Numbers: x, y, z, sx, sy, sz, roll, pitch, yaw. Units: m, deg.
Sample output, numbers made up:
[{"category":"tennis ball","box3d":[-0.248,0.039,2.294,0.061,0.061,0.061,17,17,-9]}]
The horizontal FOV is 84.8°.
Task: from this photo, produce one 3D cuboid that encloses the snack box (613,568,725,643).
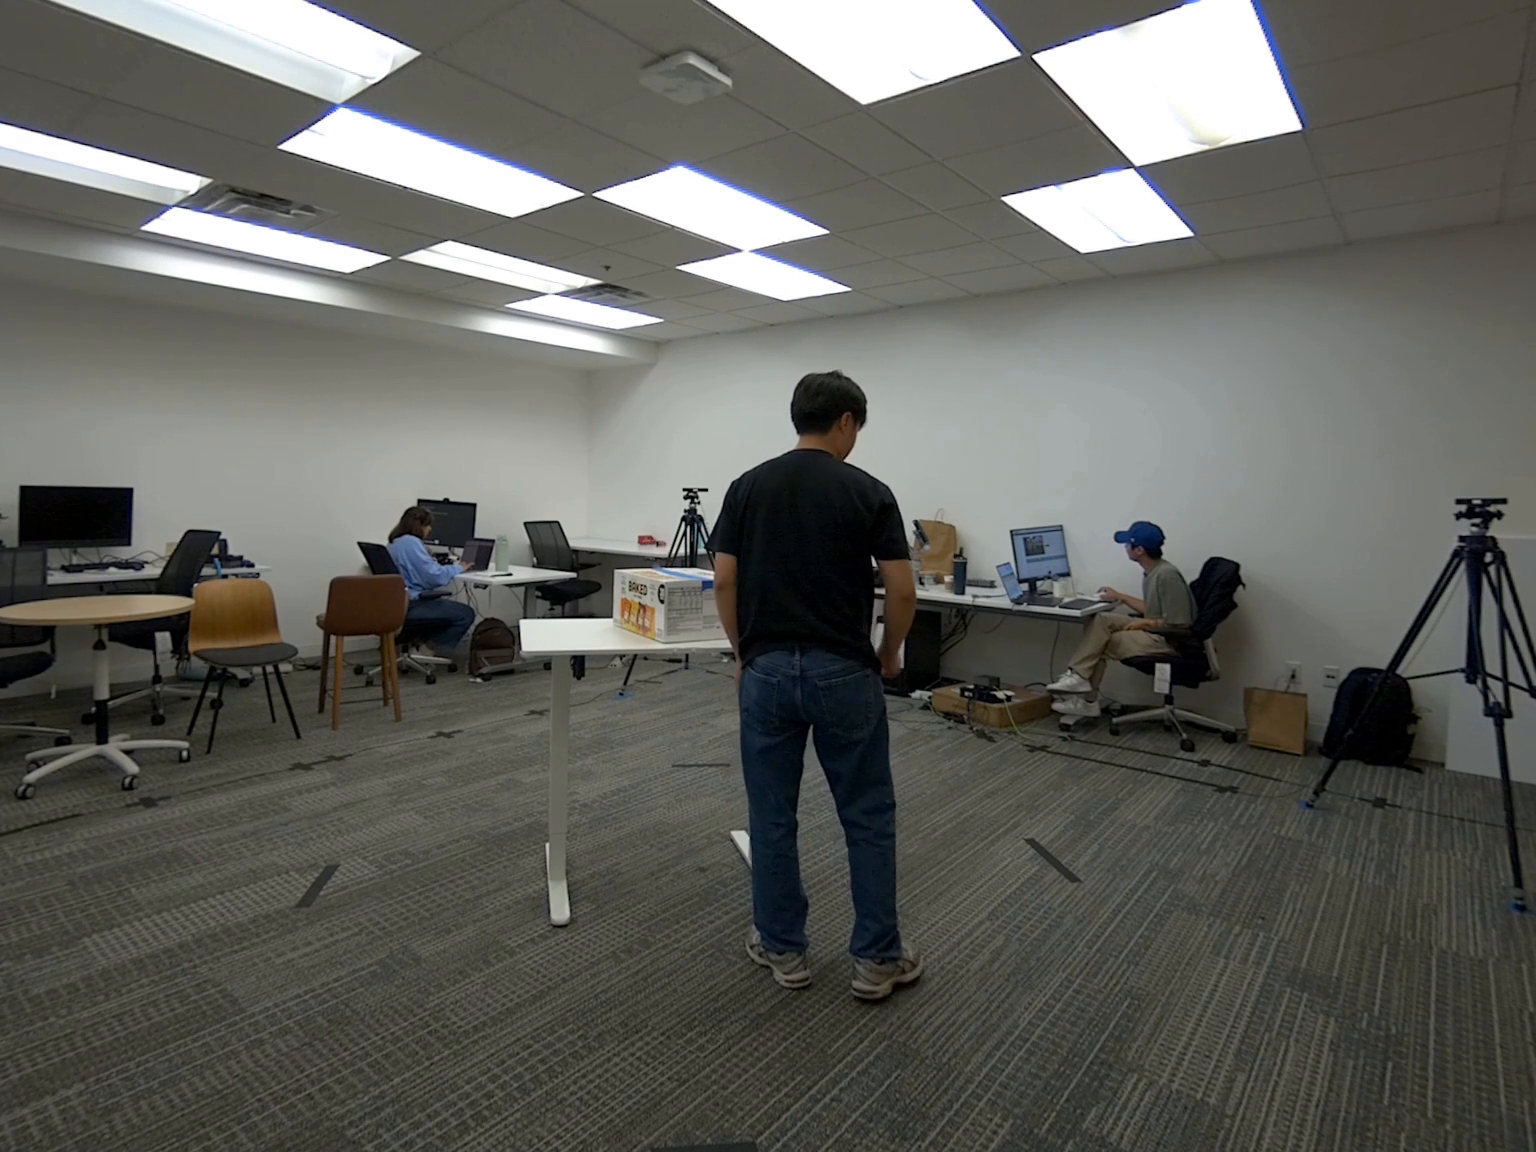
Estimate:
[{"category":"snack box","box3d":[-0.318,0.092,3.011,0.331,0.205,0.418,-2,6,-33]}]
